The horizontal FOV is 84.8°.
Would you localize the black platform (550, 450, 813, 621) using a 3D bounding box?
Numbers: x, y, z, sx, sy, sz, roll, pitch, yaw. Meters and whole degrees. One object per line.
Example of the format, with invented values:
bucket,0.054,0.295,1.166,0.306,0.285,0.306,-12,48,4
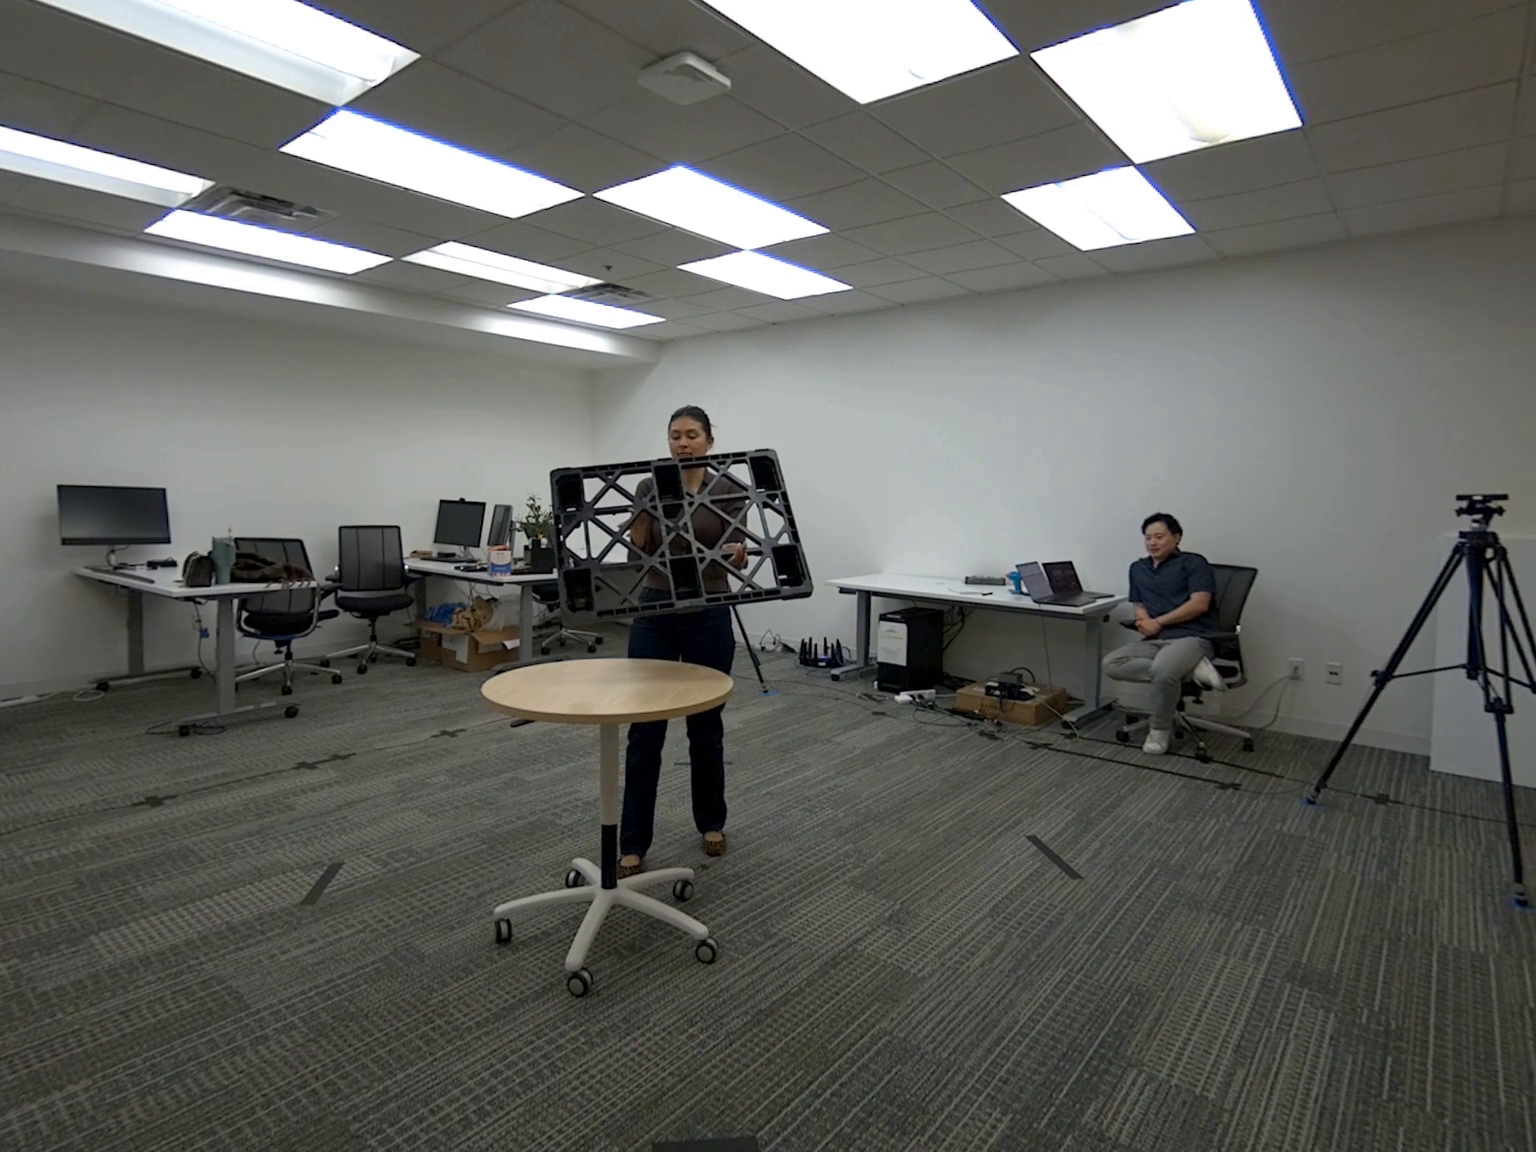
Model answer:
black platform,-0.309,-0.123,2.862,0.799,0.624,0.140,-6,-31,-8
